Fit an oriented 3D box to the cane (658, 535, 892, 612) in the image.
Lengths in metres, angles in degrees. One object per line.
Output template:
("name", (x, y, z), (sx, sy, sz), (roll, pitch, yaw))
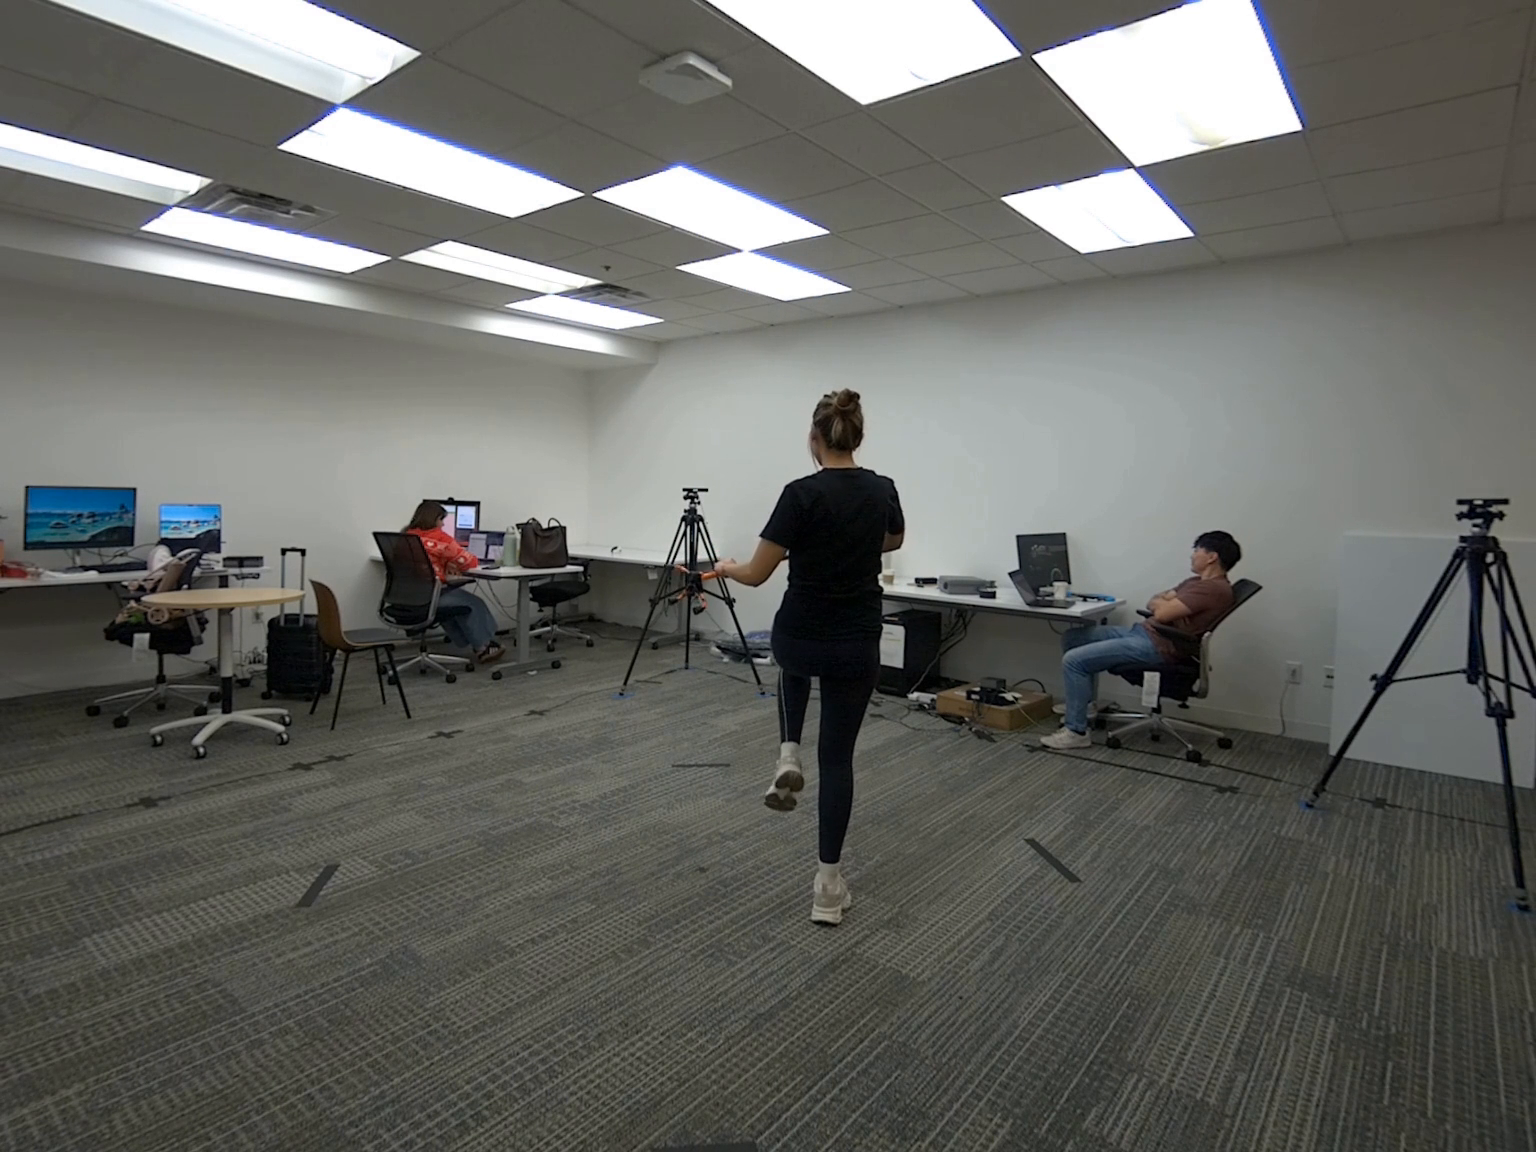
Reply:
("cane", (0.044, -0.069, 3.195), (0.890, 0.149, 0.214), (-14, 18, -28))
